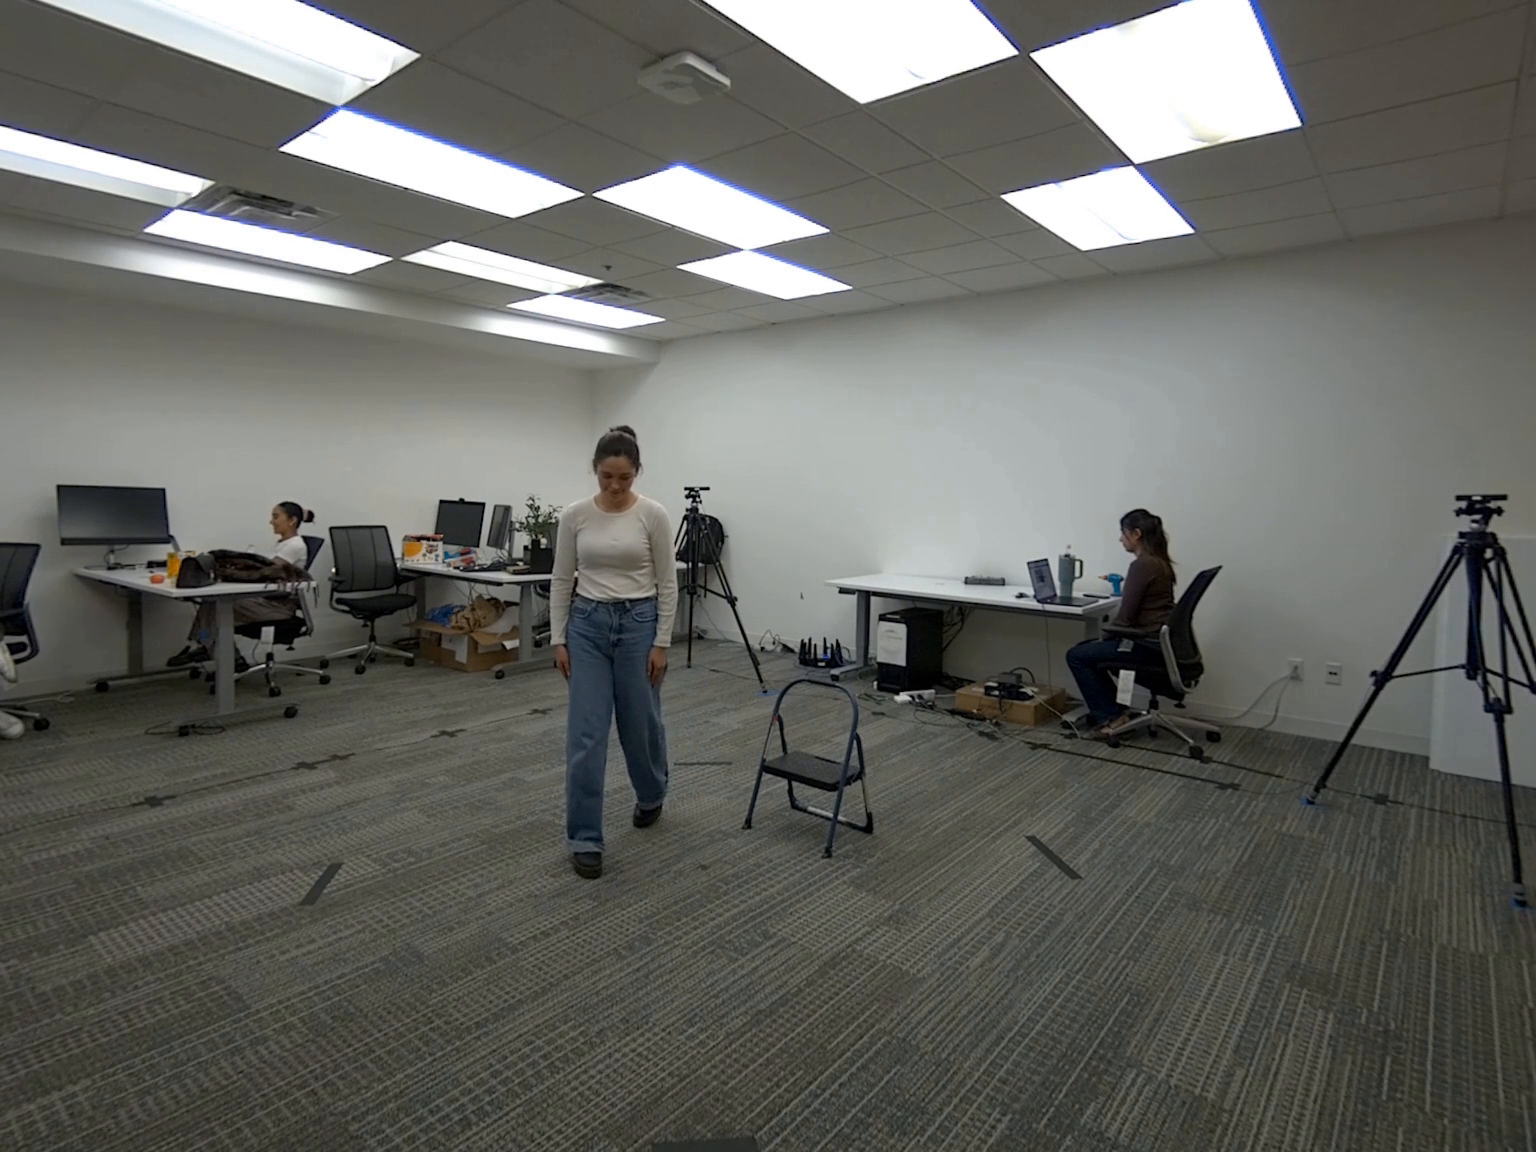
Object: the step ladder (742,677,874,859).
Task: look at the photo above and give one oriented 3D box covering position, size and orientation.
[{"bbox_3d":[0.167,0.736,3.460,0.445,0.604,0.339,5,5,39],"label":"step ladder"}]
